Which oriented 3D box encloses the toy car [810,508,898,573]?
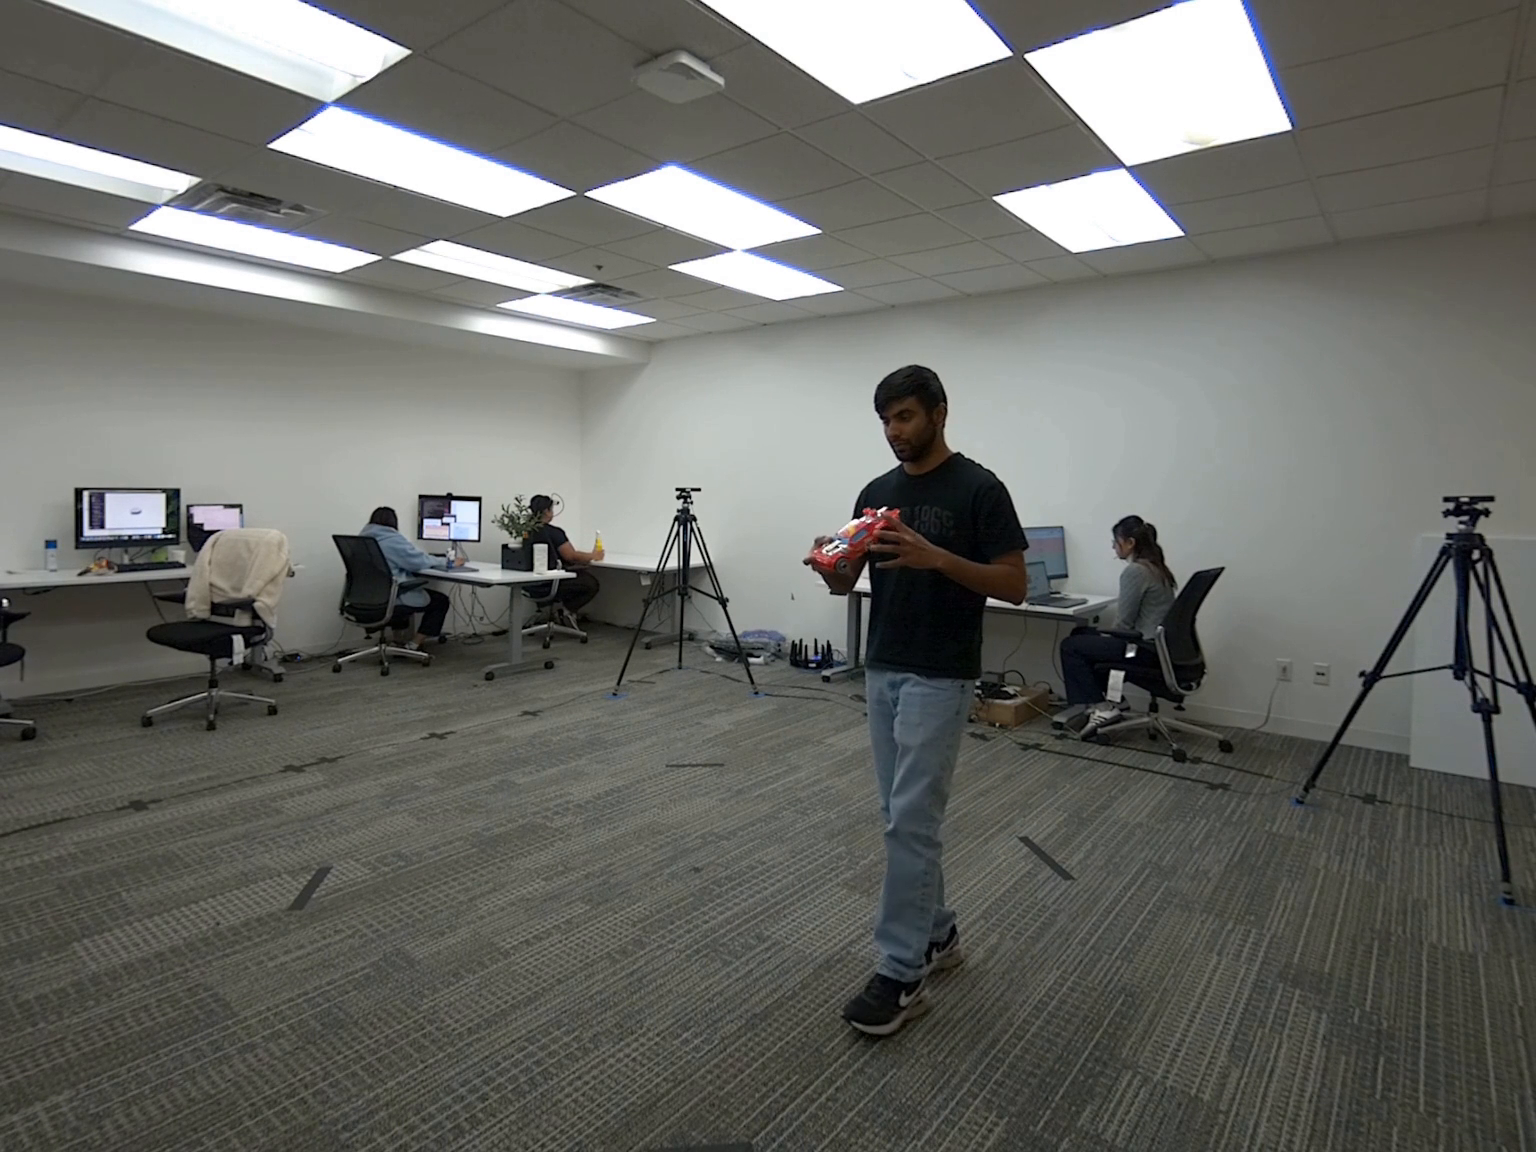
[{"bbox_3d":[0.232,-0.094,2.195,0.254,0.080,0.134,-43,26,-10],"label":"toy car"}]
